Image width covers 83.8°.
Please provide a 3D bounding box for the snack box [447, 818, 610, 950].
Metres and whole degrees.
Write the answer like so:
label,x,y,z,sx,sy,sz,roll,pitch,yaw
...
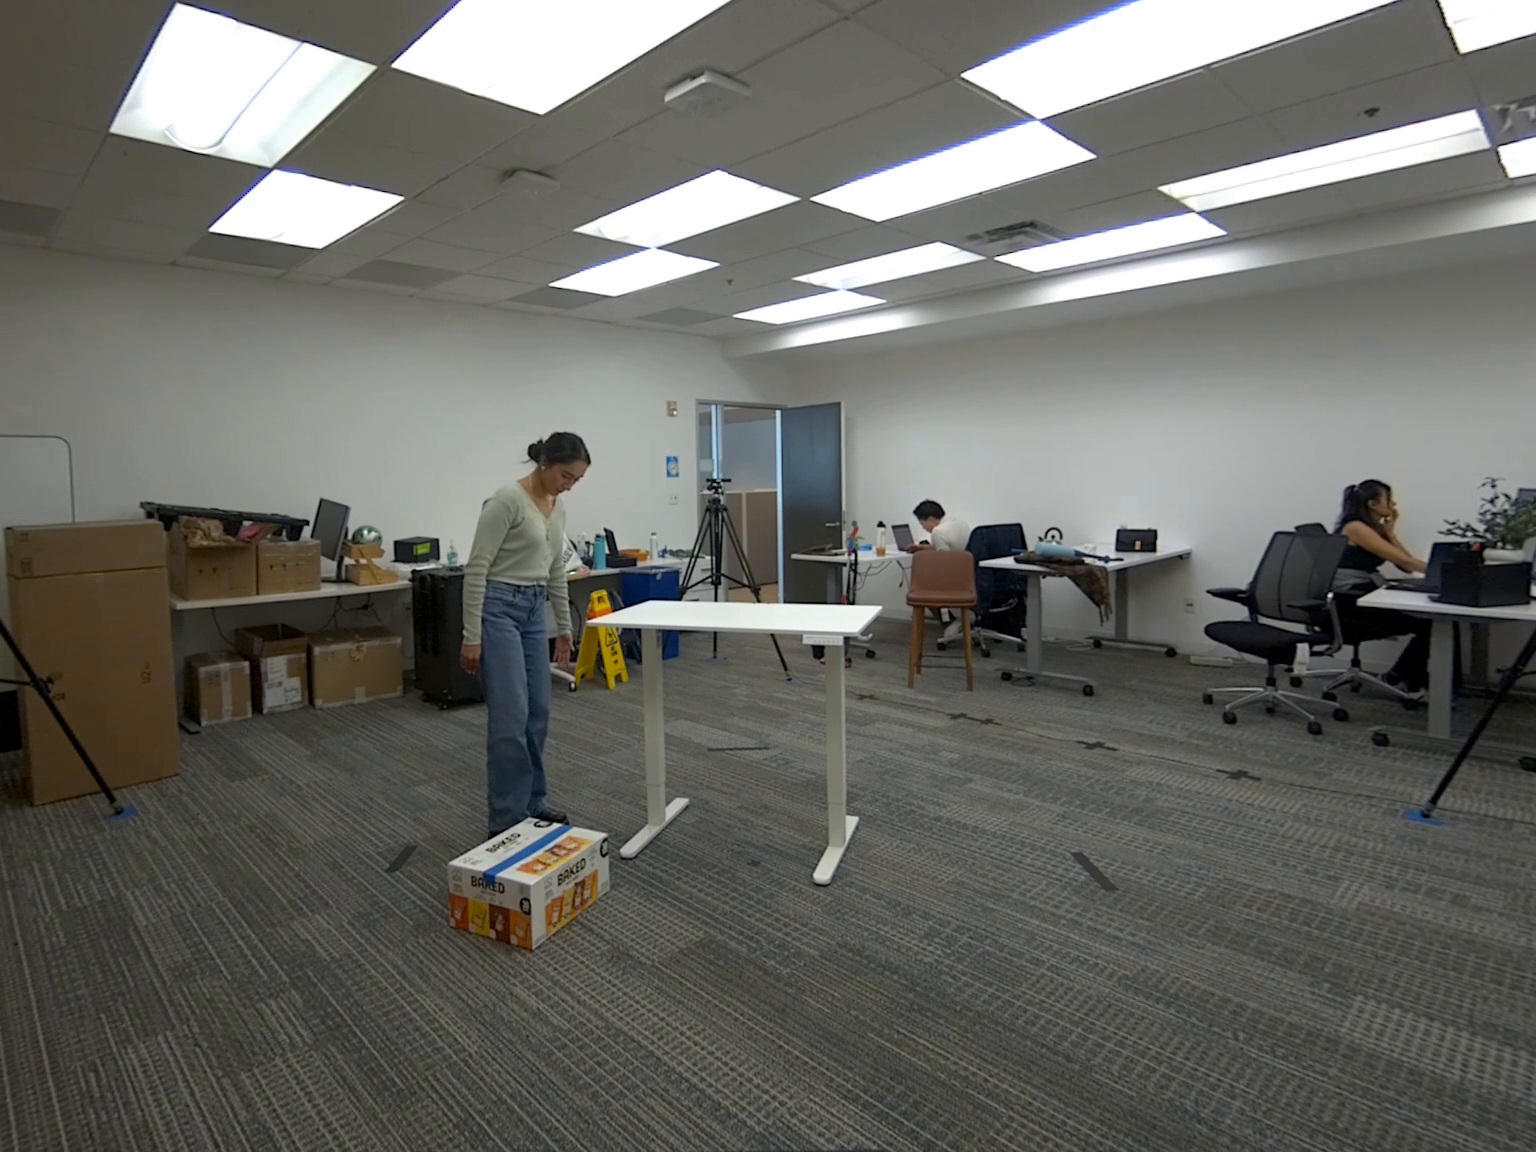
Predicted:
label,x,y,z,sx,sy,sz,roll,pitch,yaw
snack box,-0.775,0.992,2.802,0.348,0.205,0.397,2,7,26
